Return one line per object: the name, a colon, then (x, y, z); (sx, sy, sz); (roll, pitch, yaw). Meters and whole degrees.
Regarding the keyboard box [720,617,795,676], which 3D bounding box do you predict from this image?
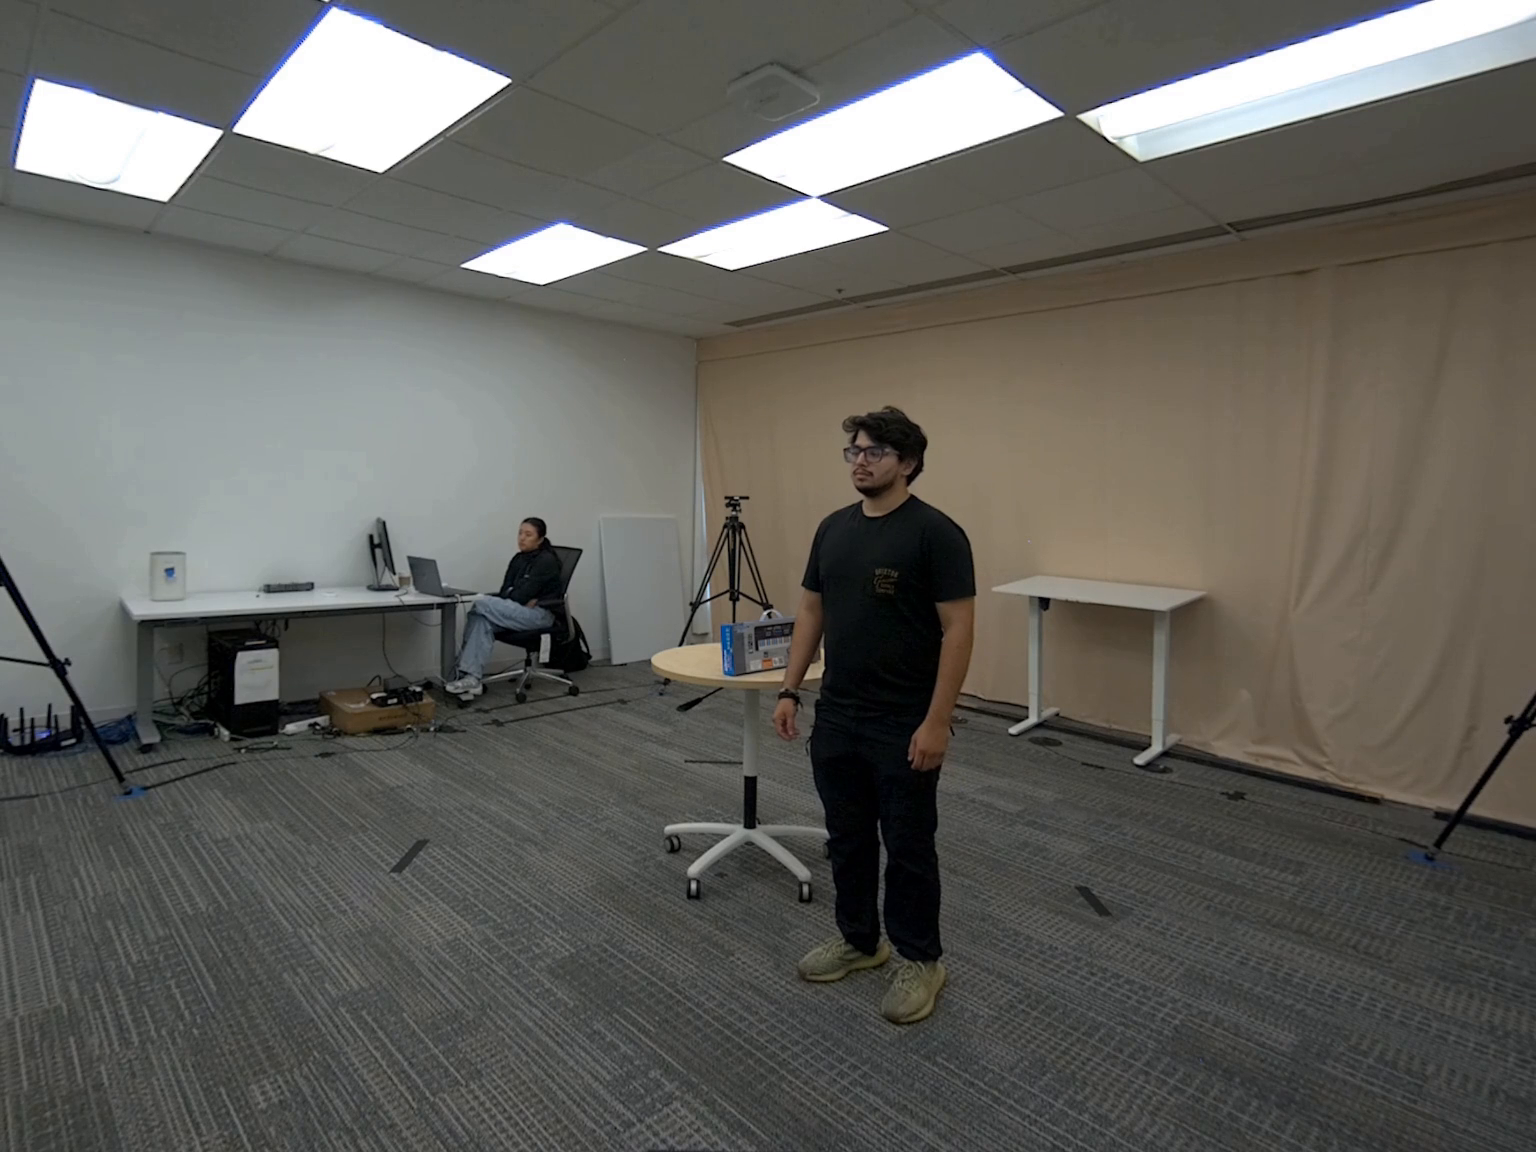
keyboard box: (0.014, 0.243, 3.014); (0.427, 0.176, 0.060); (-4, 0, -42)
